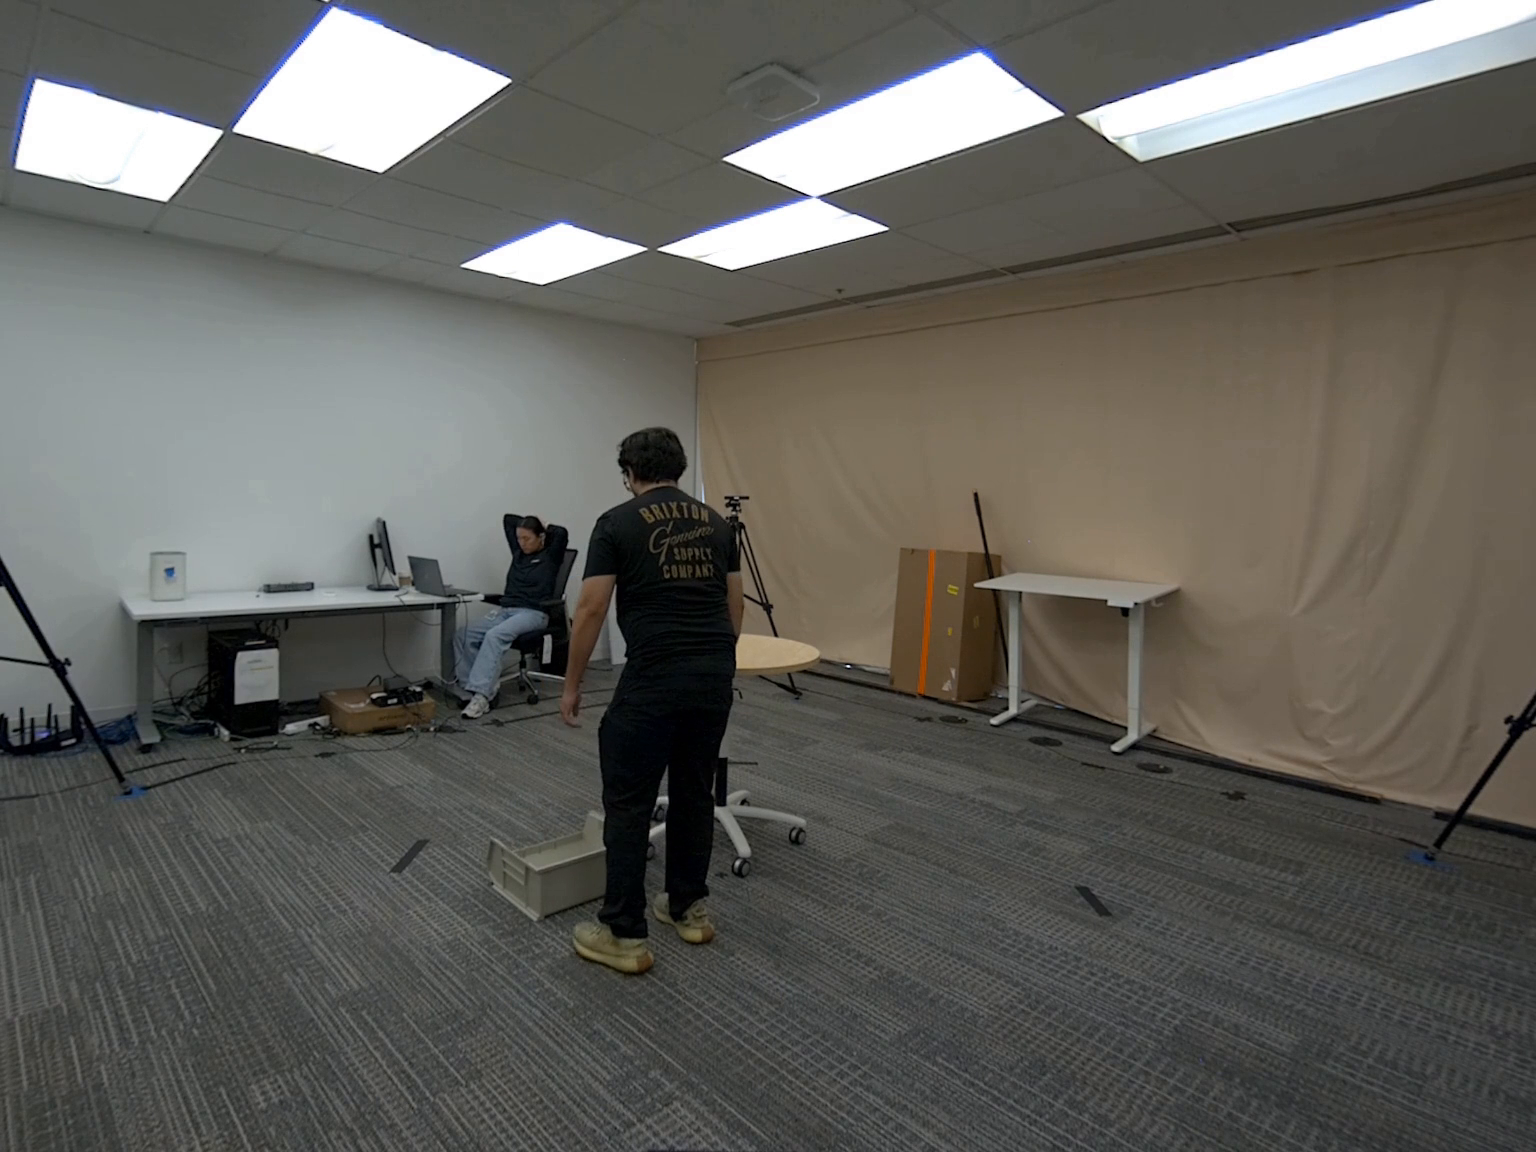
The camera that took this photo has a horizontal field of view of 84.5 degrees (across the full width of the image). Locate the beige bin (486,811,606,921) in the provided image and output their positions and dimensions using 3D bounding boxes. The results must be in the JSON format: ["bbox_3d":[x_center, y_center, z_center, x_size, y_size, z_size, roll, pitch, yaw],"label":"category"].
[{"bbox_3d":[-0.728,1.007,2.995,0.413,0.188,0.387,-3,8,-43],"label":"beige bin"}]
